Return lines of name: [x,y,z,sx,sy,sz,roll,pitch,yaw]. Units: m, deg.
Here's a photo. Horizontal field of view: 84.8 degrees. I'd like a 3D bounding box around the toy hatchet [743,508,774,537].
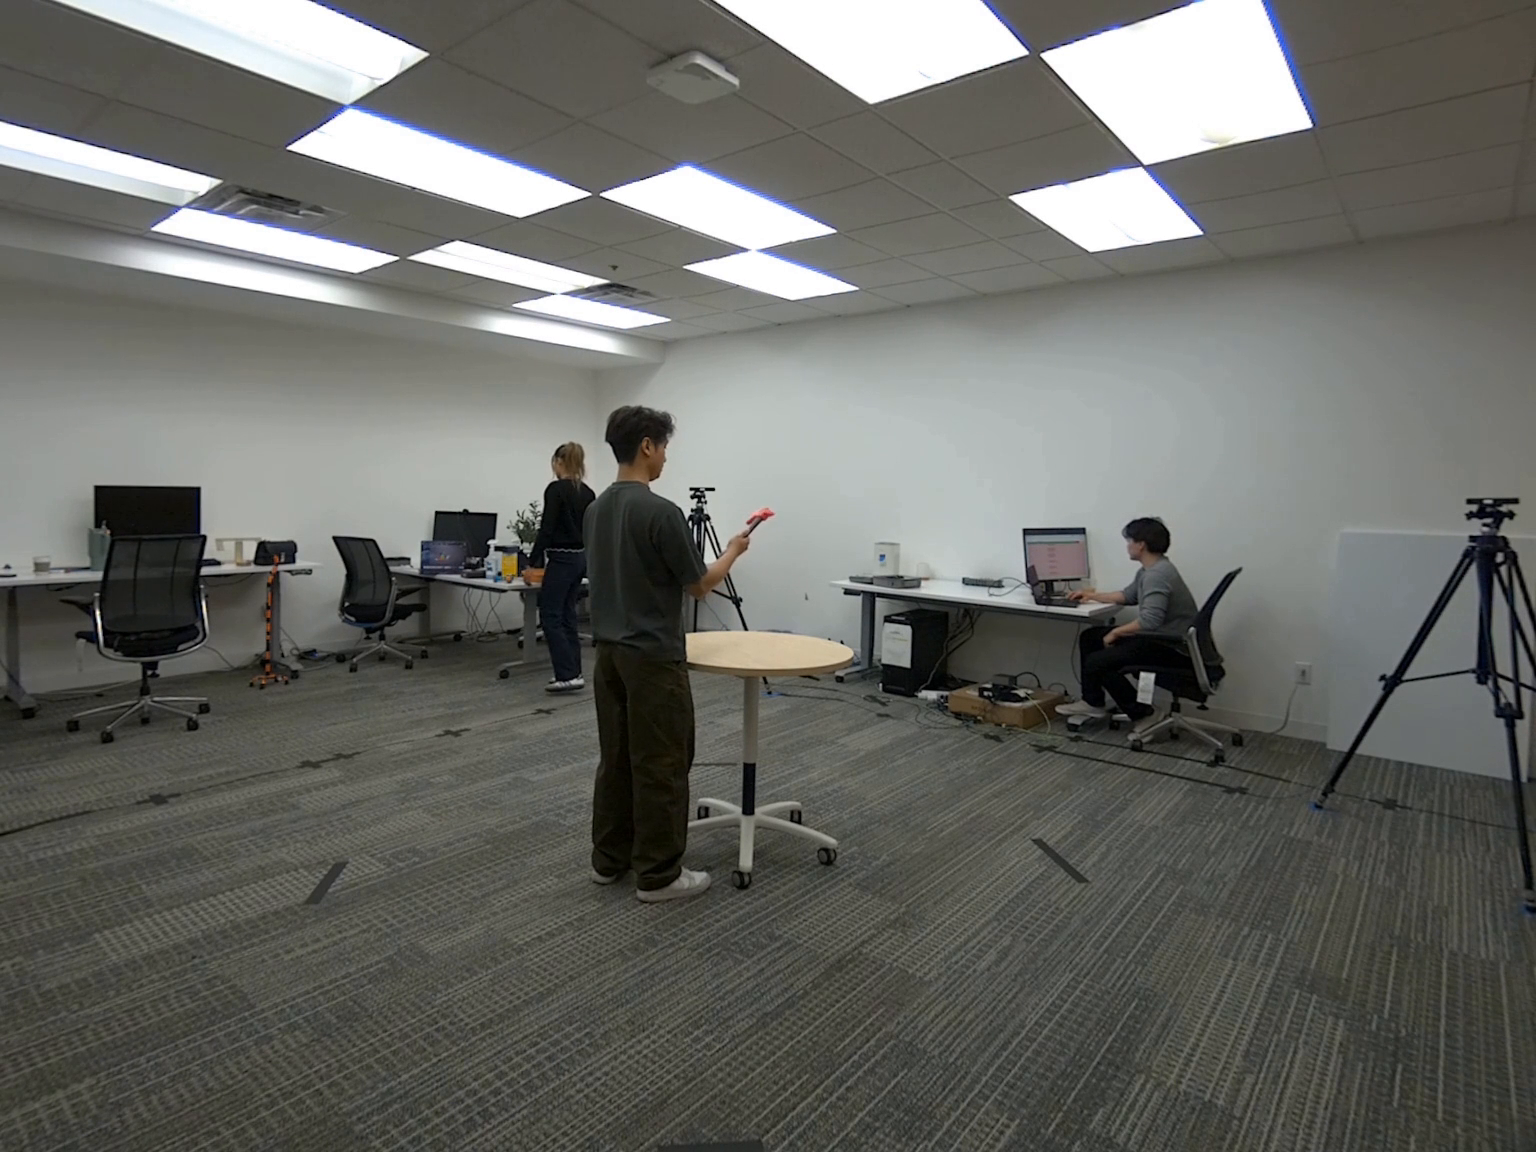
toy hatchet: [-0.109,-0.166,3.133,0.269,0.028,0.135,-40,27,-10]
